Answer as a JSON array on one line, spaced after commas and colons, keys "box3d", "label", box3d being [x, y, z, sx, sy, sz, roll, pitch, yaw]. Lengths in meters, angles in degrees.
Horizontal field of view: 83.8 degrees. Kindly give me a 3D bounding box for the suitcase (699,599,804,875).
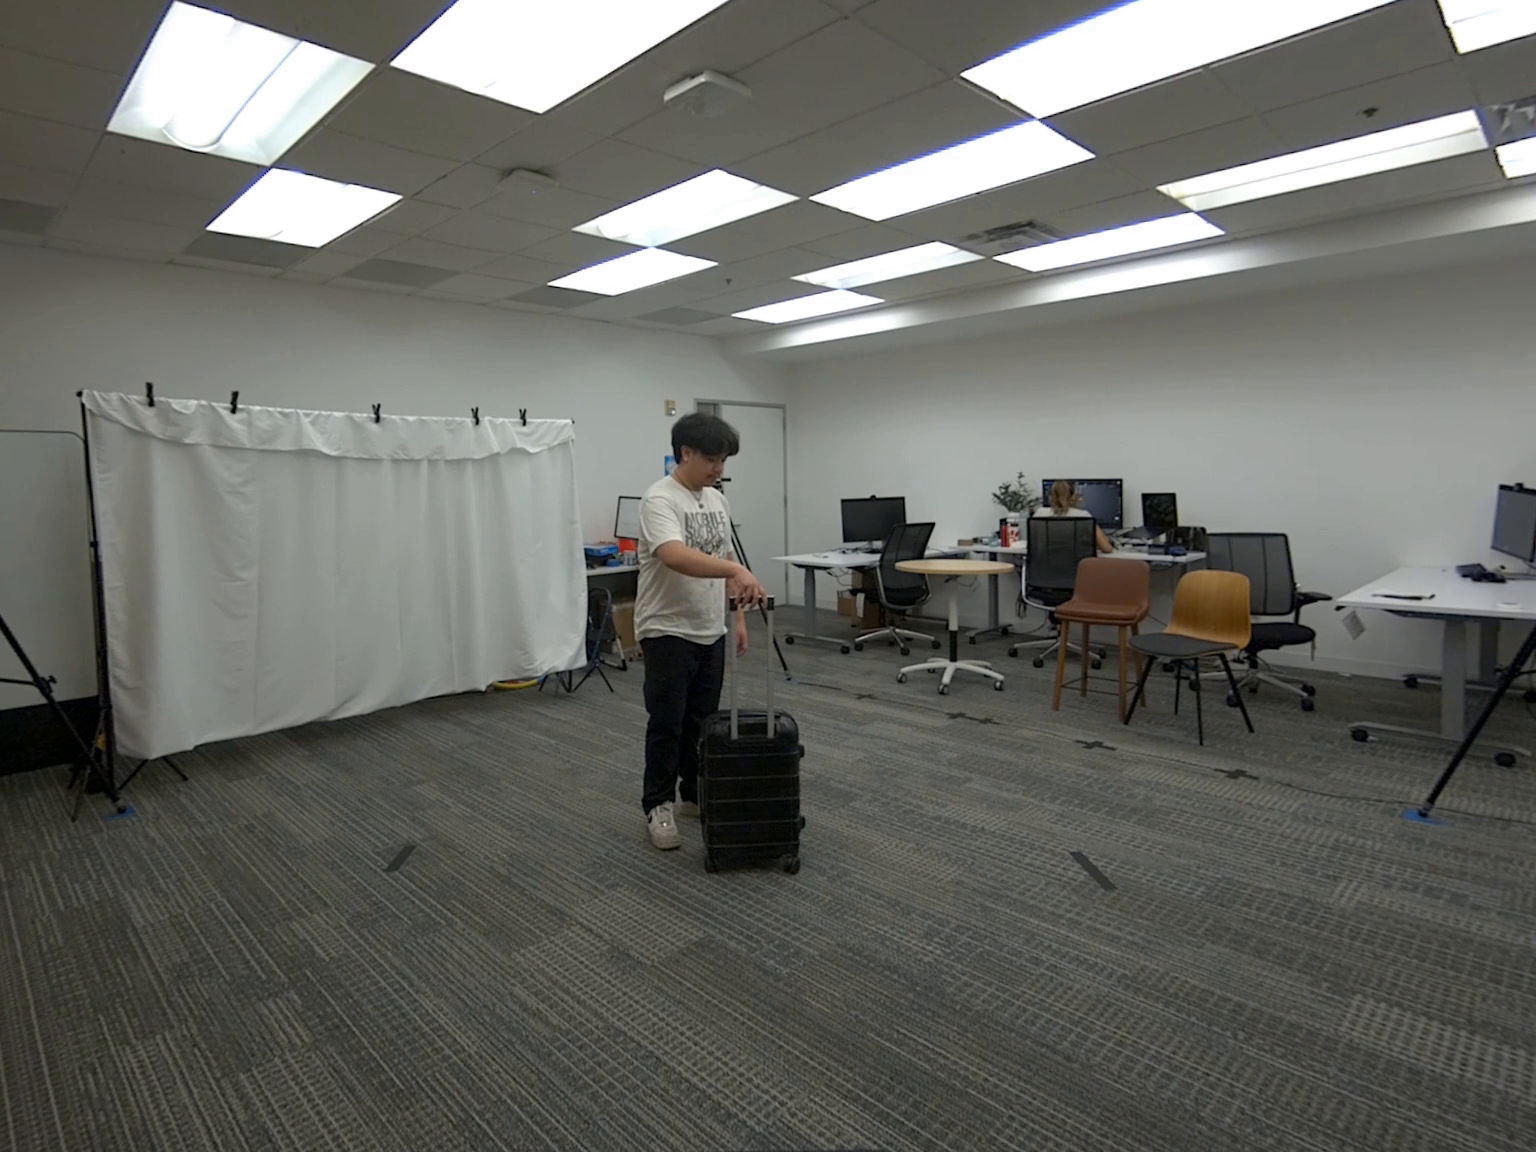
[{"box3d": [-0.067, 0.566, 3.116, 0.383, 0.976, 0.258, -1, 2, -2], "label": "suitcase"}]
